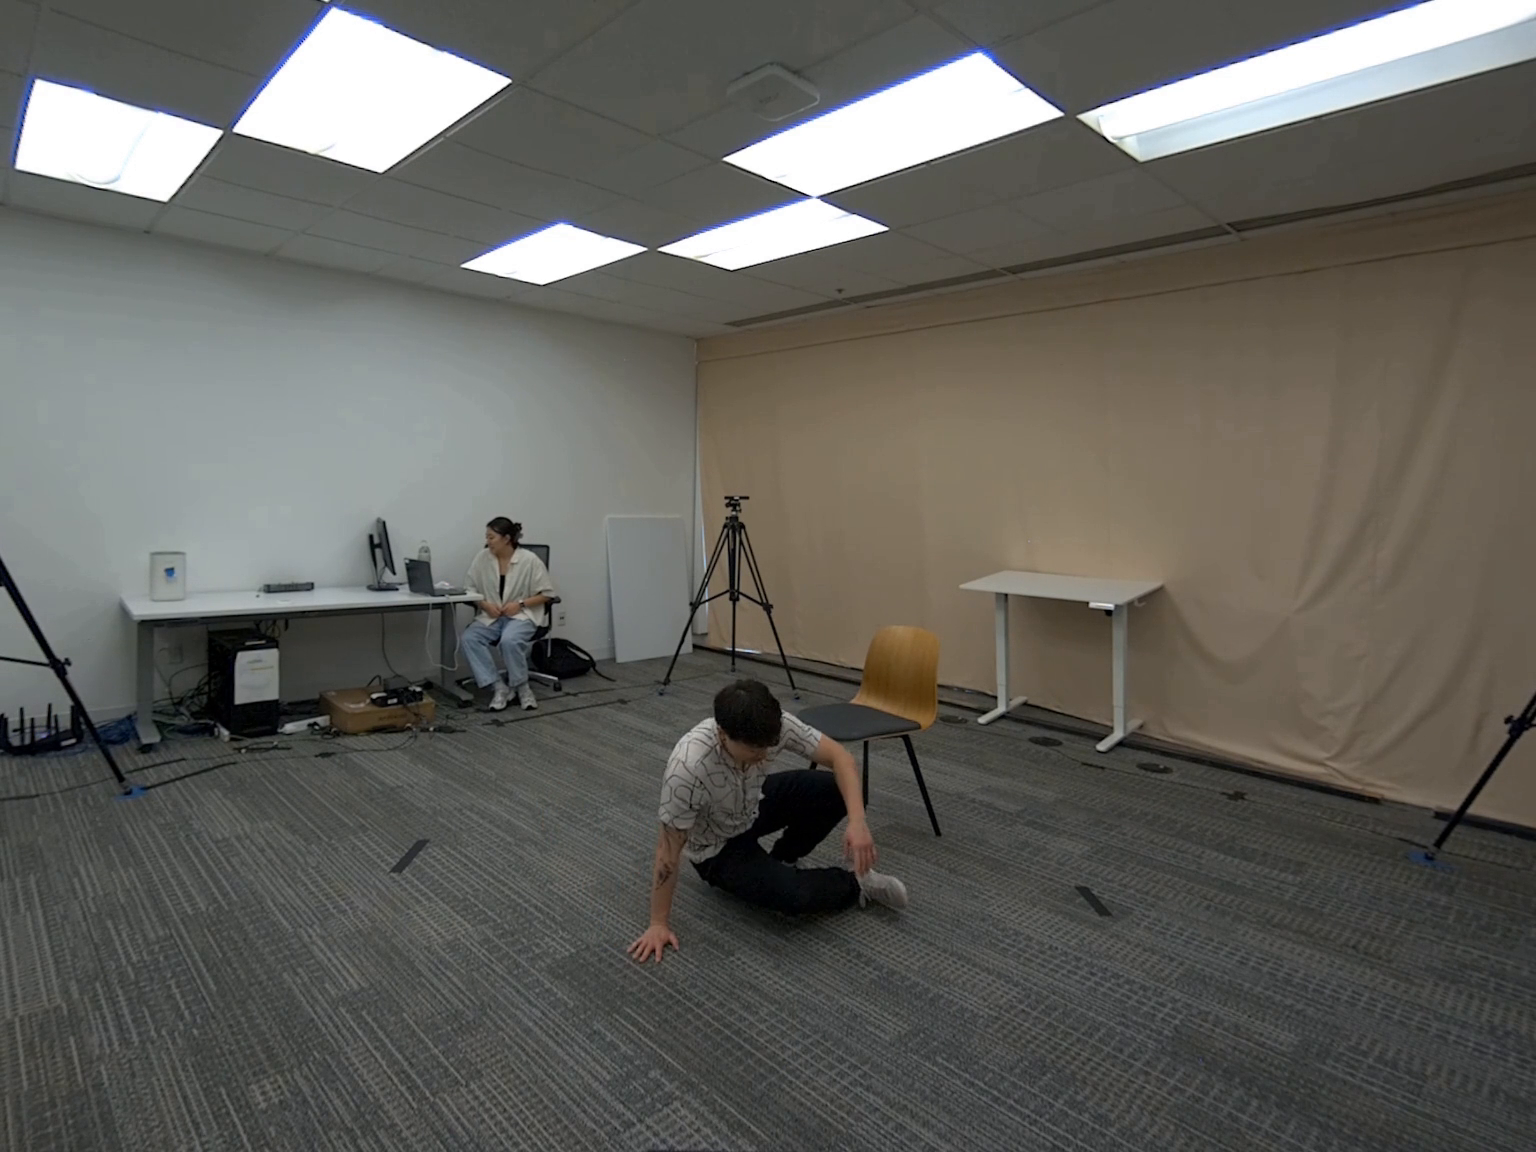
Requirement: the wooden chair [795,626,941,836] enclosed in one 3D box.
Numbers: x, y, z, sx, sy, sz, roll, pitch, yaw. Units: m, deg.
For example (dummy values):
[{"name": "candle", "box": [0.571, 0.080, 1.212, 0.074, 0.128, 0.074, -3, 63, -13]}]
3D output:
[{"name": "wooden chair", "box": [0.408, 0.651, 3.544, 0.510, 0.877, 0.490, 4, 1, -36]}]
